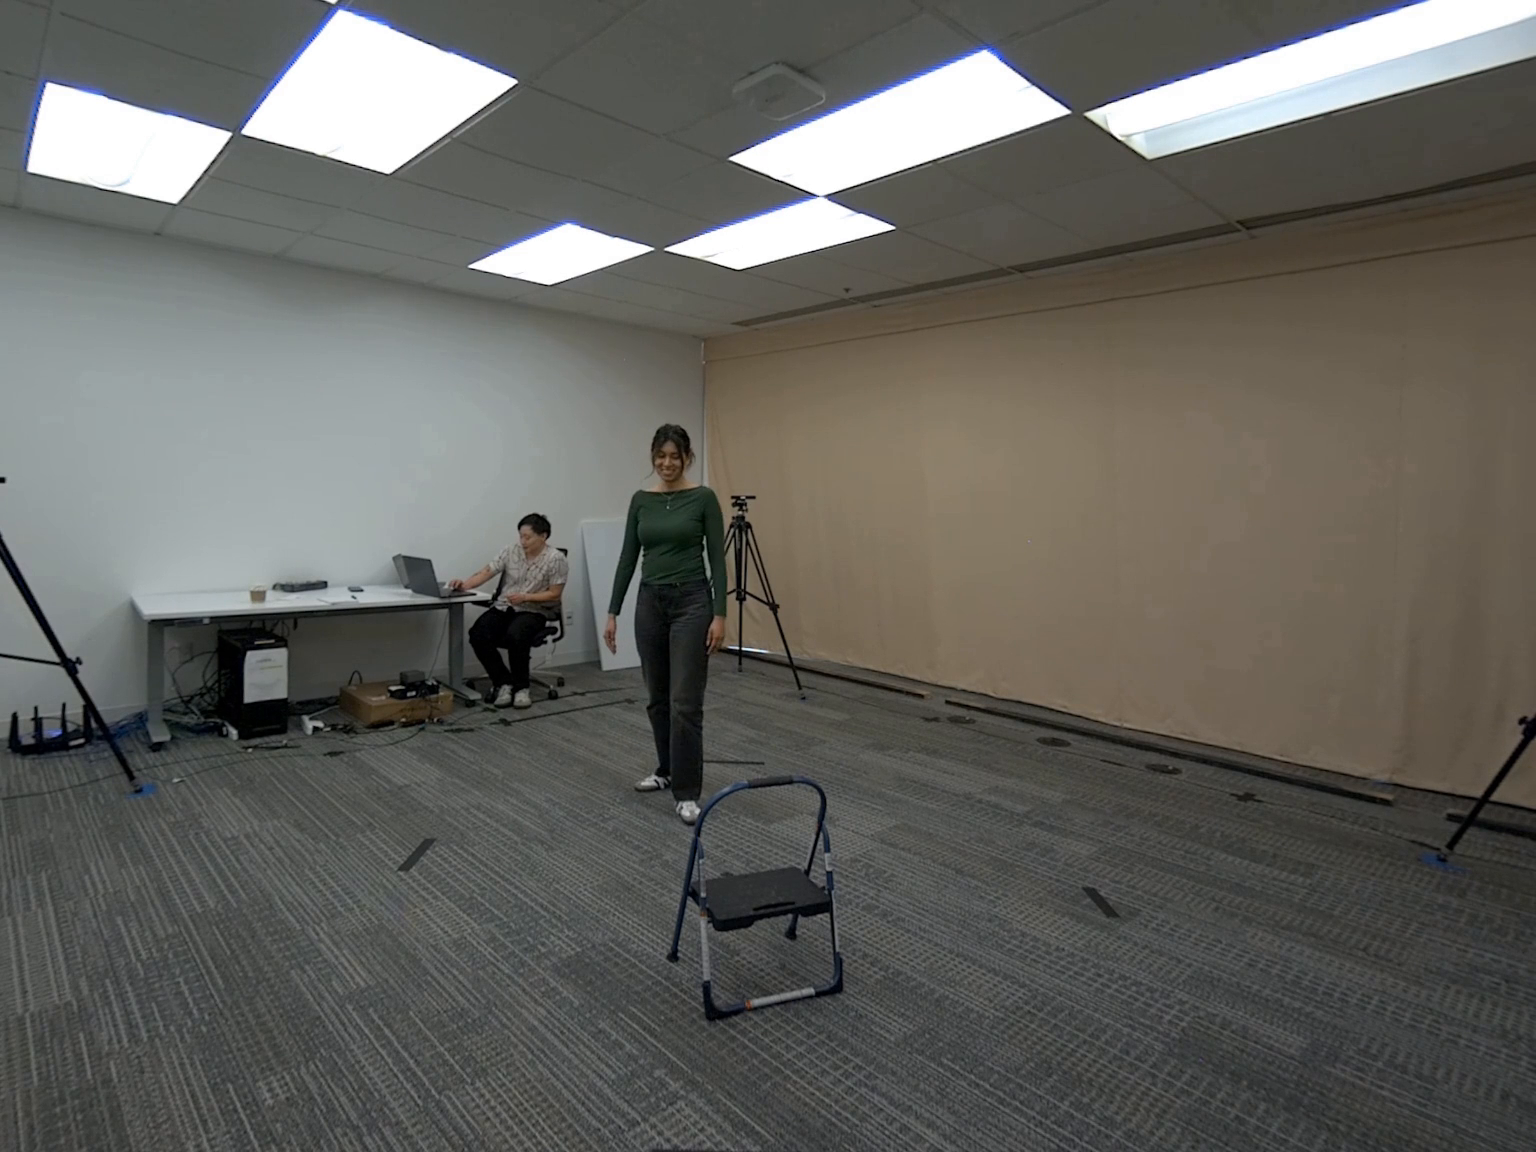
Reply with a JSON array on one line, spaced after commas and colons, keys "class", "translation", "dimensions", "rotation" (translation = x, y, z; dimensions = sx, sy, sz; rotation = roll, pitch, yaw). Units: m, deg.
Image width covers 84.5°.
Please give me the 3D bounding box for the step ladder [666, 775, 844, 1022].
[{"class": "step ladder", "translation": [-0.037, 0.863, 2.439], "dimensions": [0.423, 0.604, 0.356], "rotation": [0, 4, -24]}]
